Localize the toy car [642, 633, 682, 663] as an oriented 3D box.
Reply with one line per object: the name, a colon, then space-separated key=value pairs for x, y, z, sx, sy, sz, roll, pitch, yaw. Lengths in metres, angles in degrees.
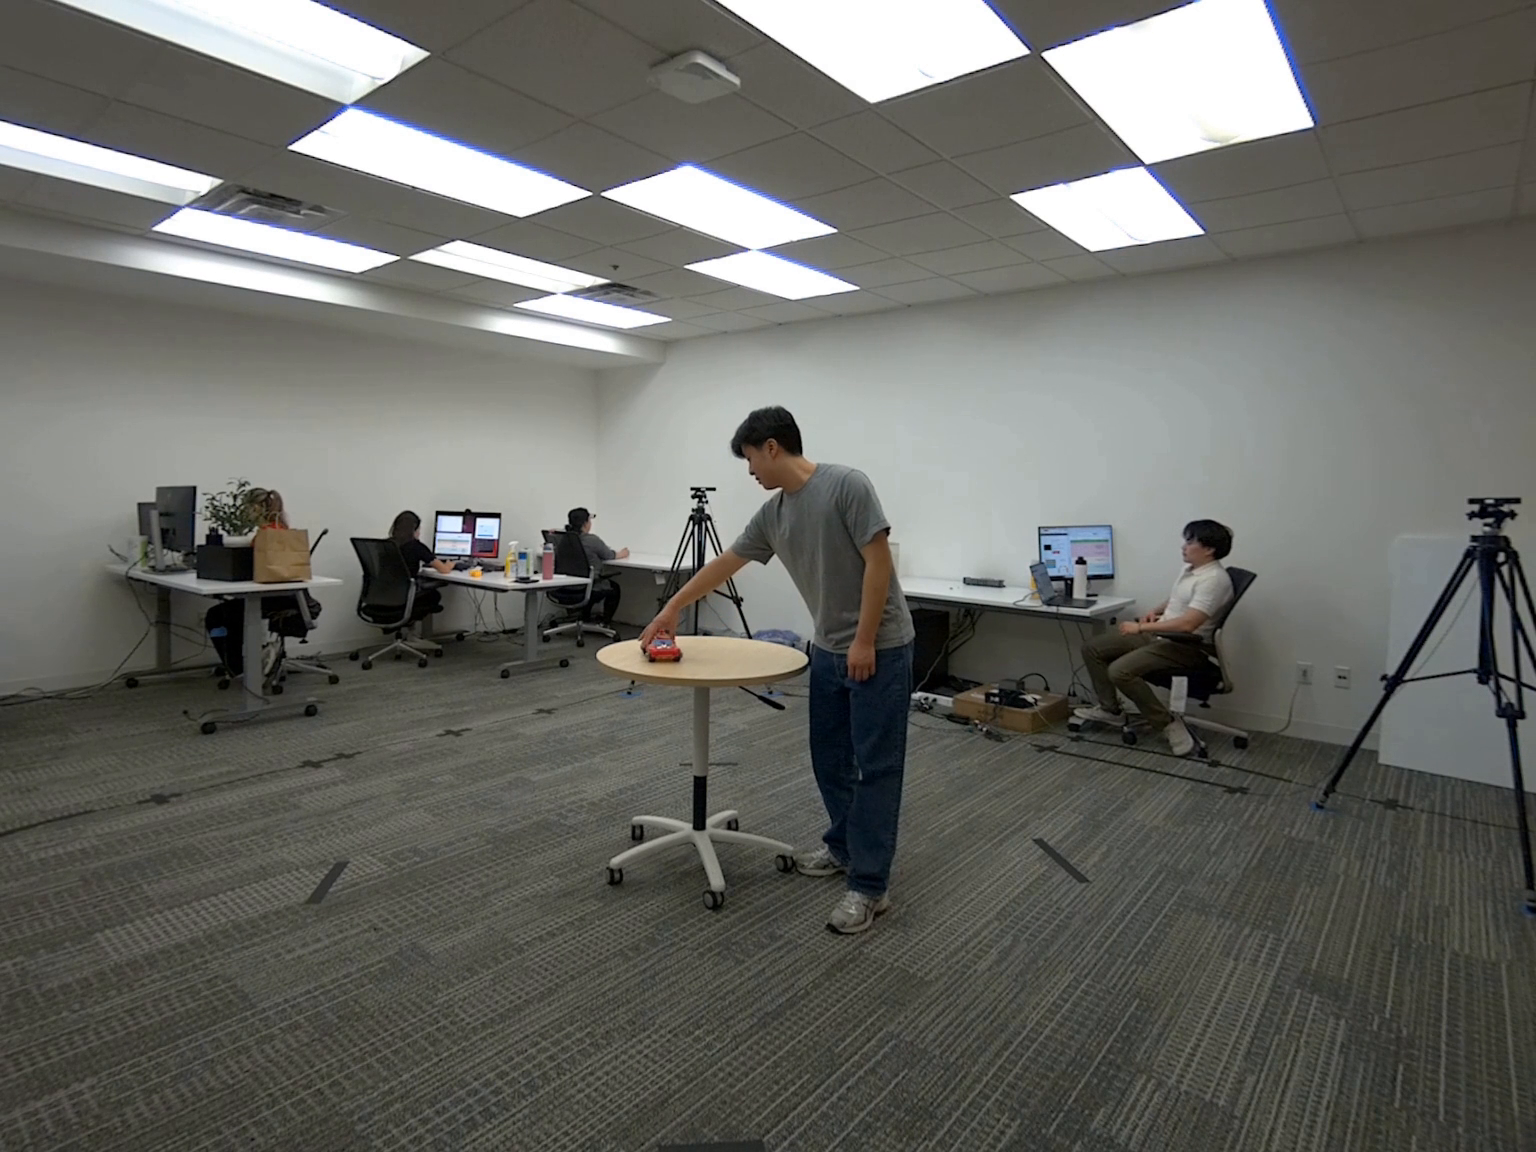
toy car: x=-0.395 y=0.253 z=3.055 sx=0.128 sy=0.082 sz=0.262 roll=-2 pitch=18 yaw=-14
